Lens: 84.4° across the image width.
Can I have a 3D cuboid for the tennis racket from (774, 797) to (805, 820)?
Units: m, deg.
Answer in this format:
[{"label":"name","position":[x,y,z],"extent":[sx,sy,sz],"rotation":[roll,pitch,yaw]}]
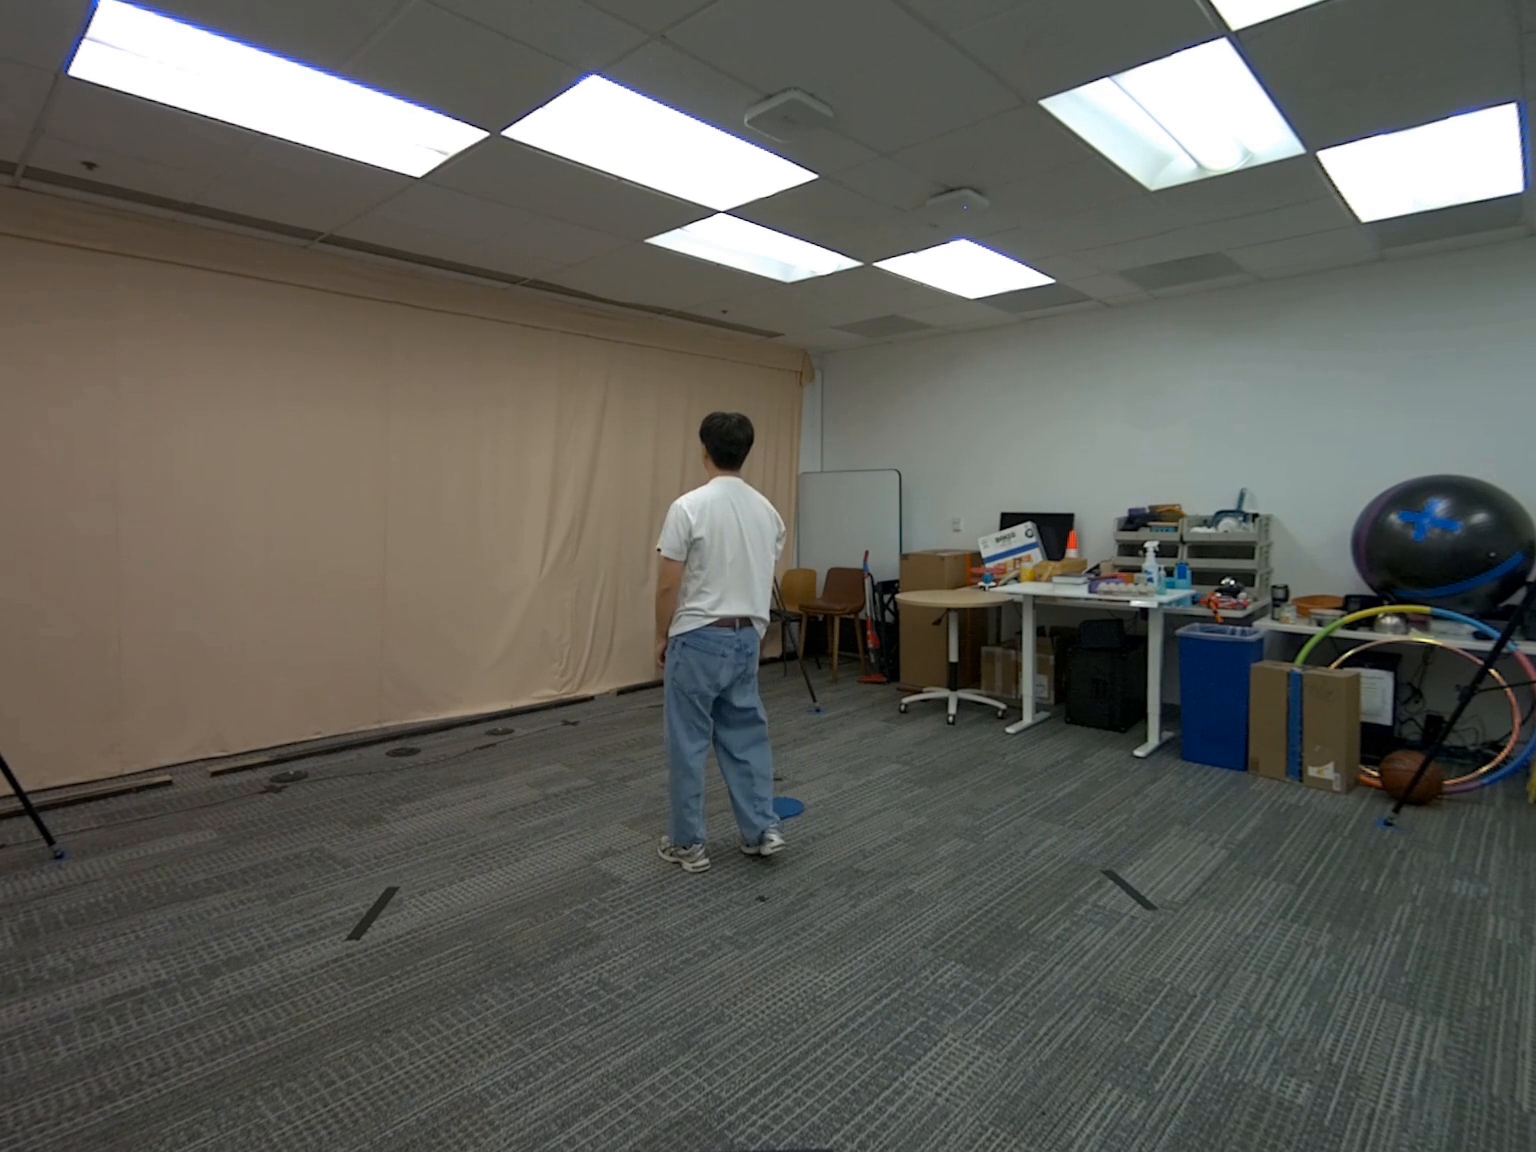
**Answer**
[{"label":"tennis racket","position":[0.041,1.064,3.790],"extent":[0.217,0.032,0.427],"rotation":[1,3,12]}]
